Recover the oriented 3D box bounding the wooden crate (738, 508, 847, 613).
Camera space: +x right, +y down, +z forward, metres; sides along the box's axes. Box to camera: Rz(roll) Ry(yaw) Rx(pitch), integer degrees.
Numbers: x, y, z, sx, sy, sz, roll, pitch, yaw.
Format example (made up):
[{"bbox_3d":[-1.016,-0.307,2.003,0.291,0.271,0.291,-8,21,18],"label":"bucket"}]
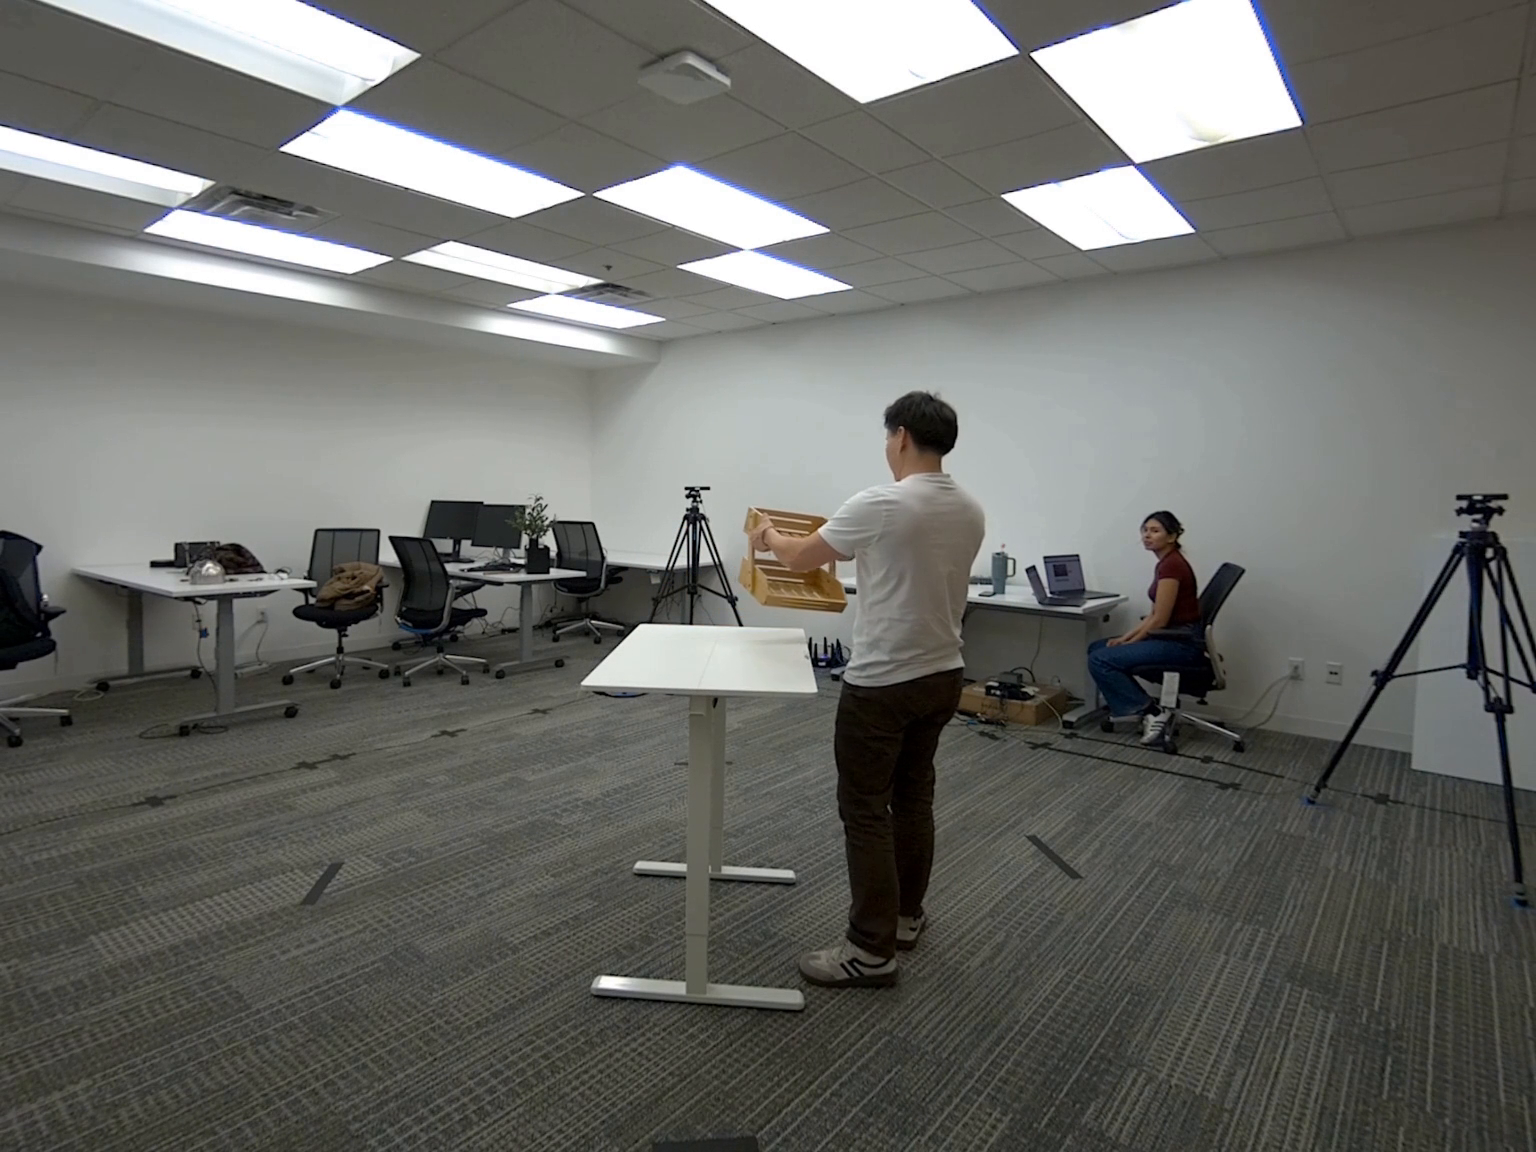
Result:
[{"bbox_3d":[0.095,-0.059,2.899,0.316,0.271,0.313,7,16,-24],"label":"wooden crate"}]
